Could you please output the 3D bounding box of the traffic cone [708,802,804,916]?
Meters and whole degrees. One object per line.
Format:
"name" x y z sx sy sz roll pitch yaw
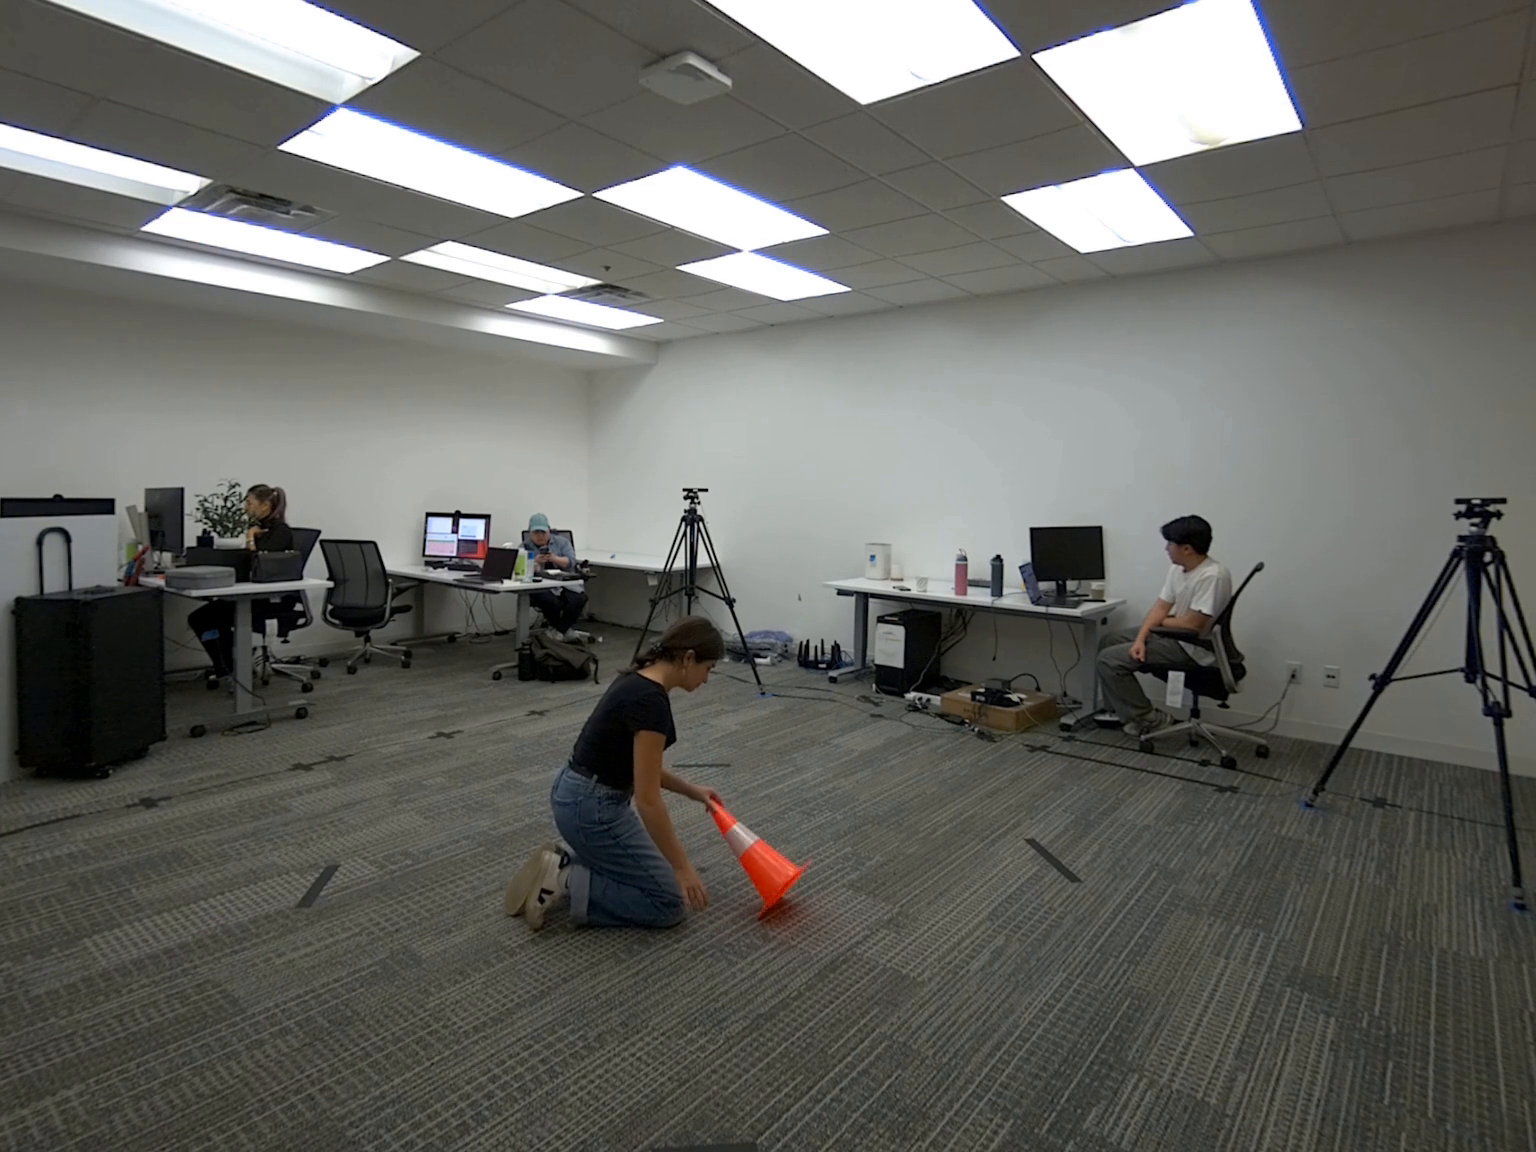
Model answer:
"traffic cone" -0.082 0.919 2.859 0.394 0.202 0.201 41 25 19
